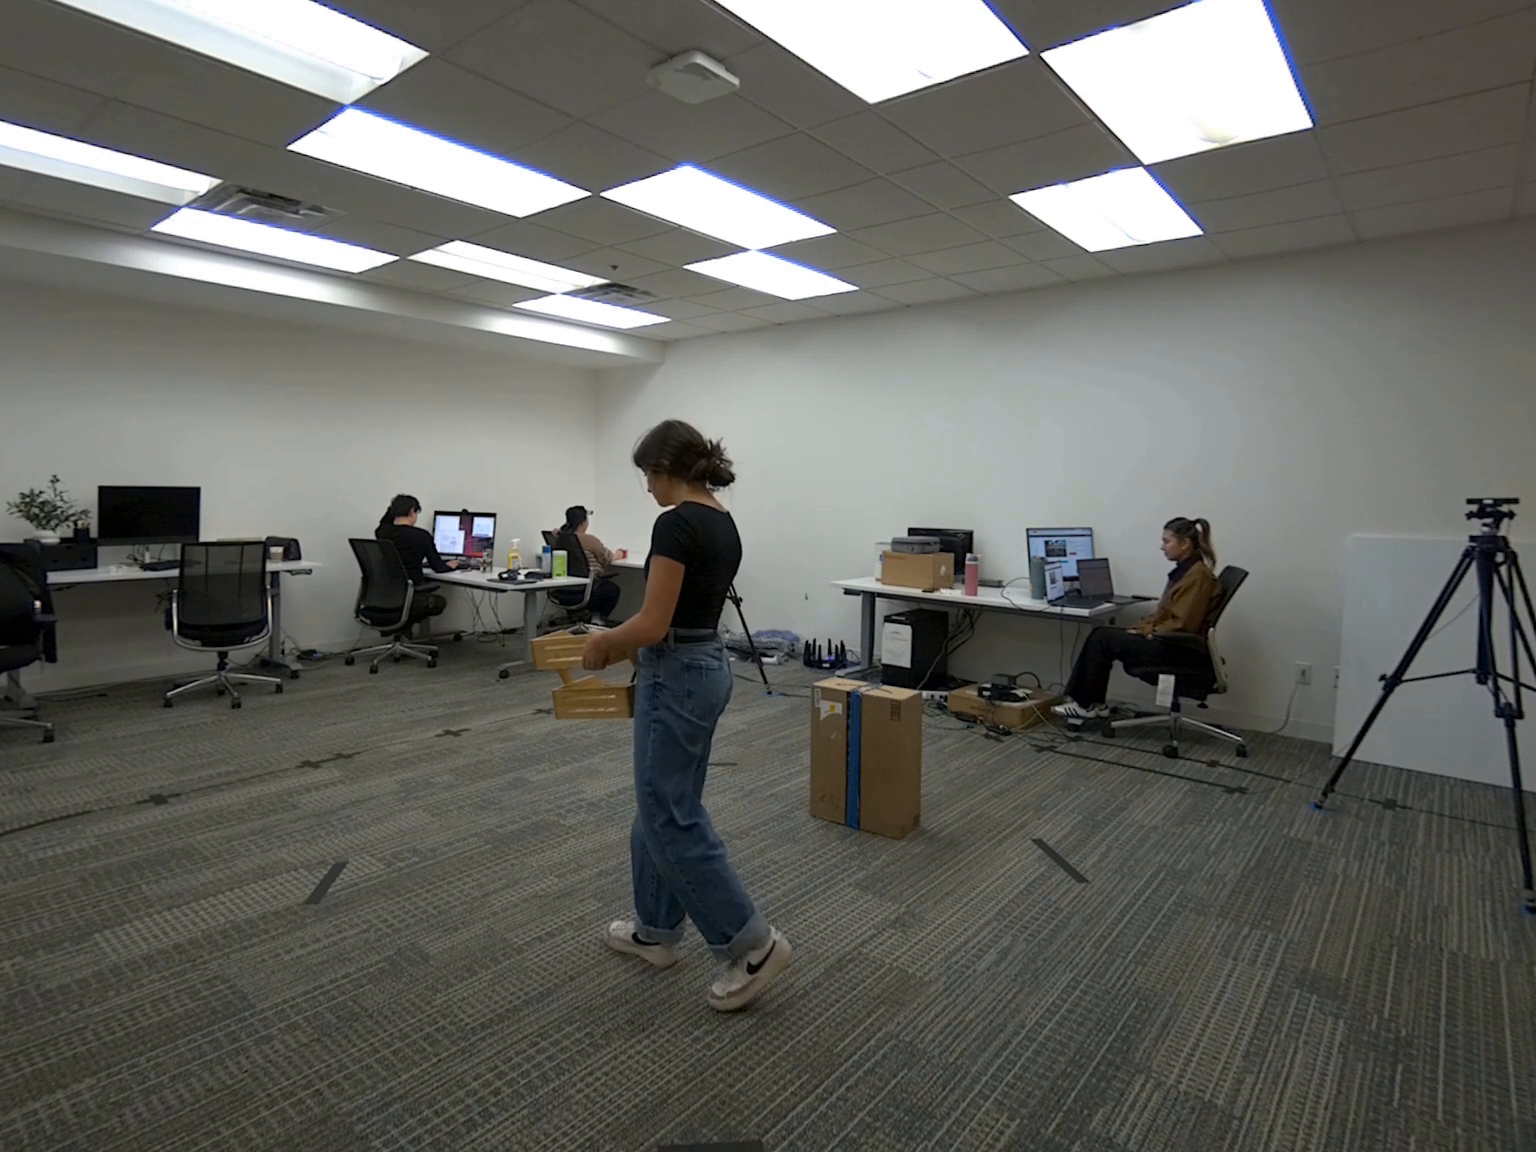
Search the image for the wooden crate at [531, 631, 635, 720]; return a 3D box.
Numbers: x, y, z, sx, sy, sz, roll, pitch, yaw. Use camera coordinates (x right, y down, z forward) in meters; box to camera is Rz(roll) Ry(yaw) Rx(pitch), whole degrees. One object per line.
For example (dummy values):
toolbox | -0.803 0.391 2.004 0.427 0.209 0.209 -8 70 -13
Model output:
wooden crate | -0.510 0.280 2.630 0.332 0.272 0.296 -7 4 27
